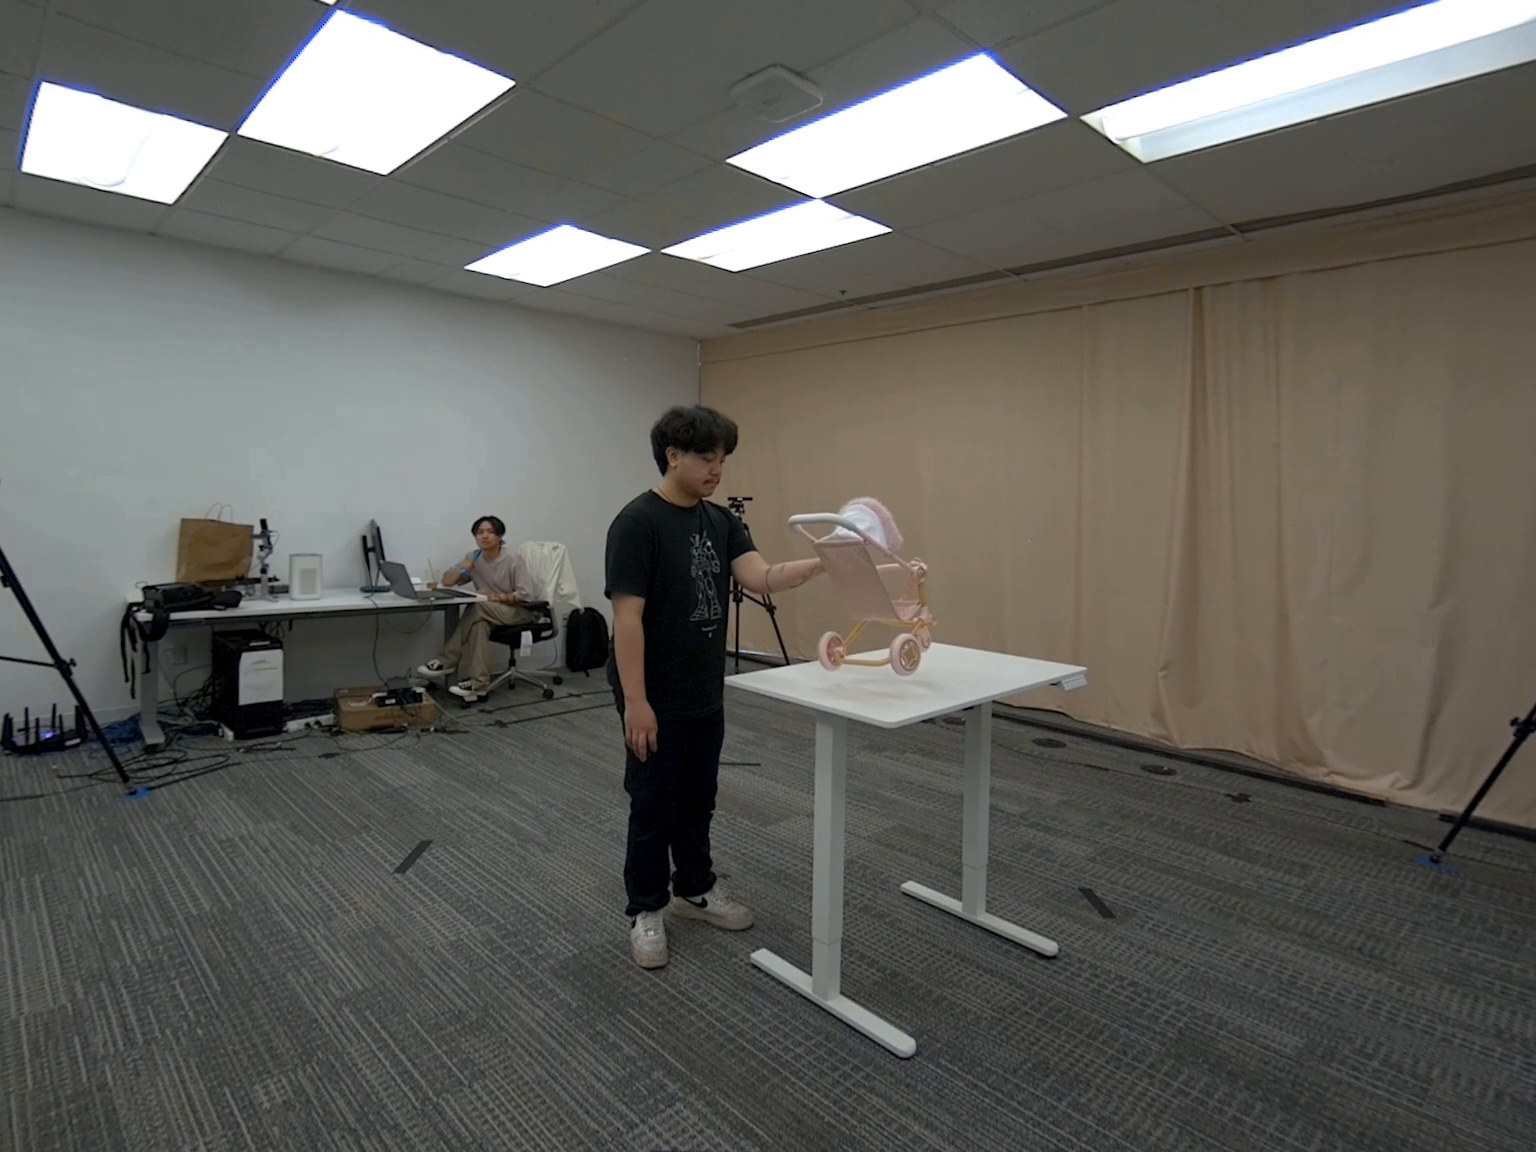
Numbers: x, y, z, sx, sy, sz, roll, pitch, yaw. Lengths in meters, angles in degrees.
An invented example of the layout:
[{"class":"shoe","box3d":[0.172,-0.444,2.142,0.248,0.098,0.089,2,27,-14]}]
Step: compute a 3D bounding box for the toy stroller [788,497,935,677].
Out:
[{"class":"toy stroller","box3d":[0.284,0.028,2.288,0.338,0.528,0.288,-28,16,-36]}]
